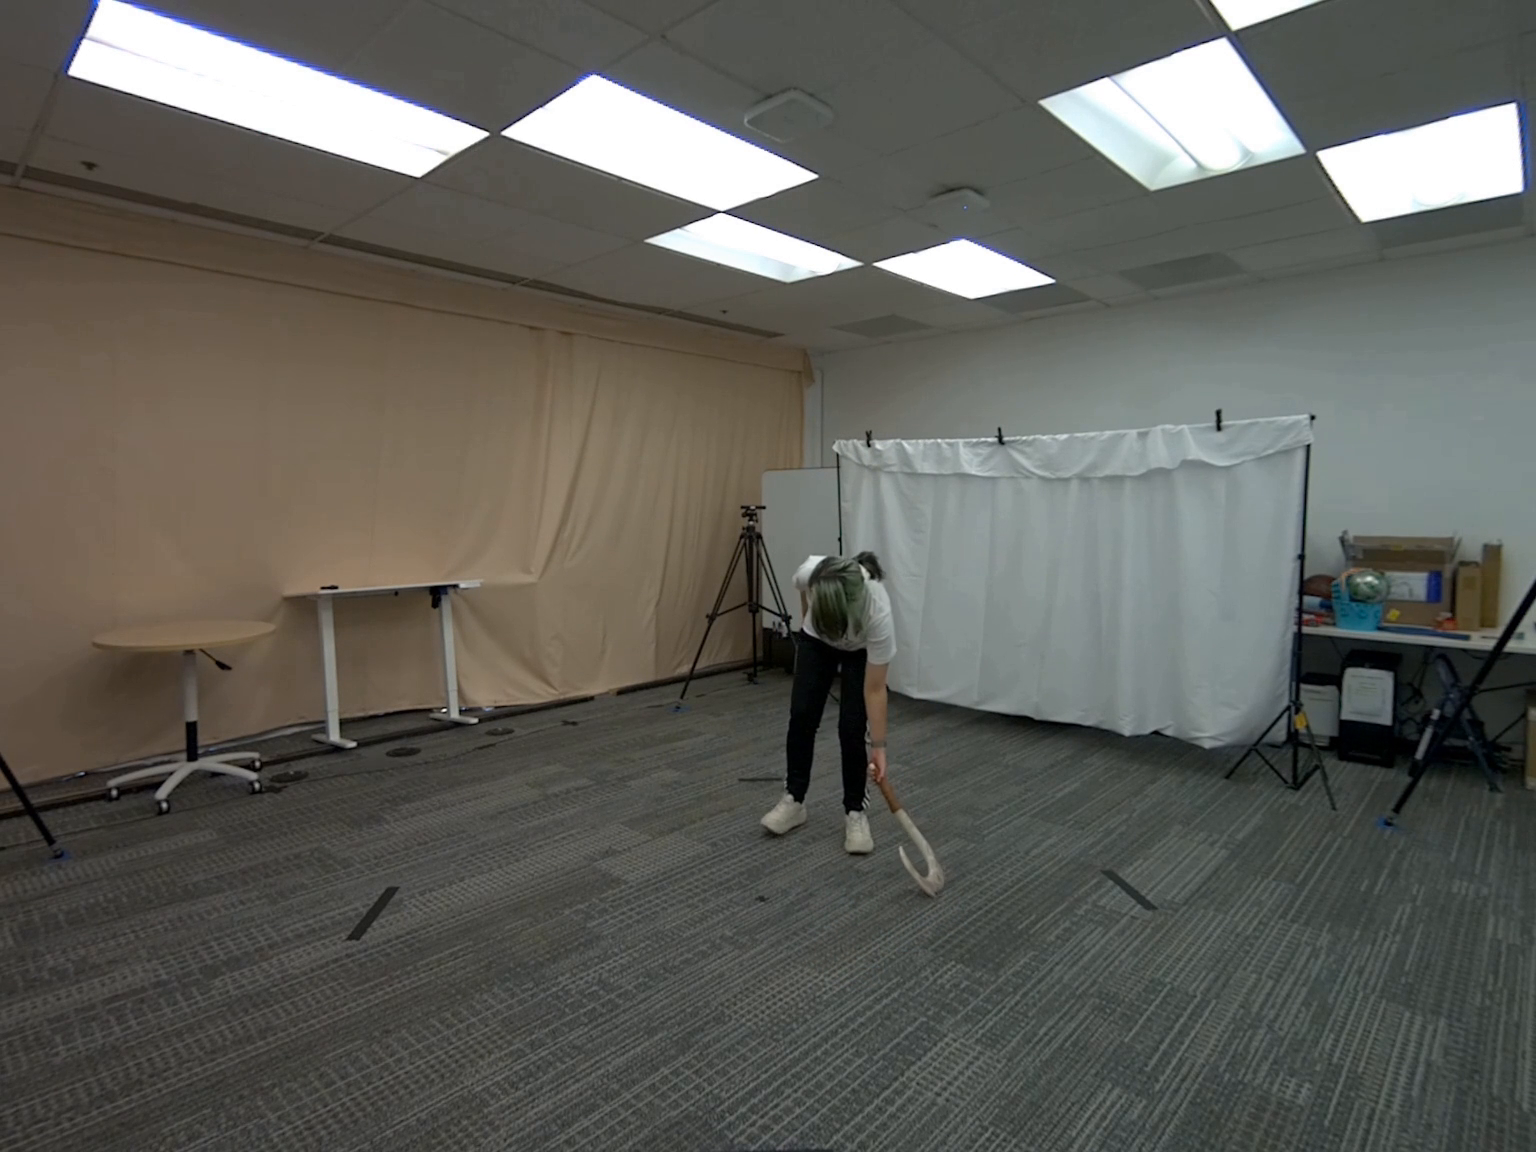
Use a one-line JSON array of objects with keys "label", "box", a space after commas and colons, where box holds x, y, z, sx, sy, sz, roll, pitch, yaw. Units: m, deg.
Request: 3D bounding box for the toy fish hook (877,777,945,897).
[{"label": "toy fish hook", "box": [0.496, 0.925, 3.104, 0.049, 0.518, 0.217, -39, -23, 22]}]
